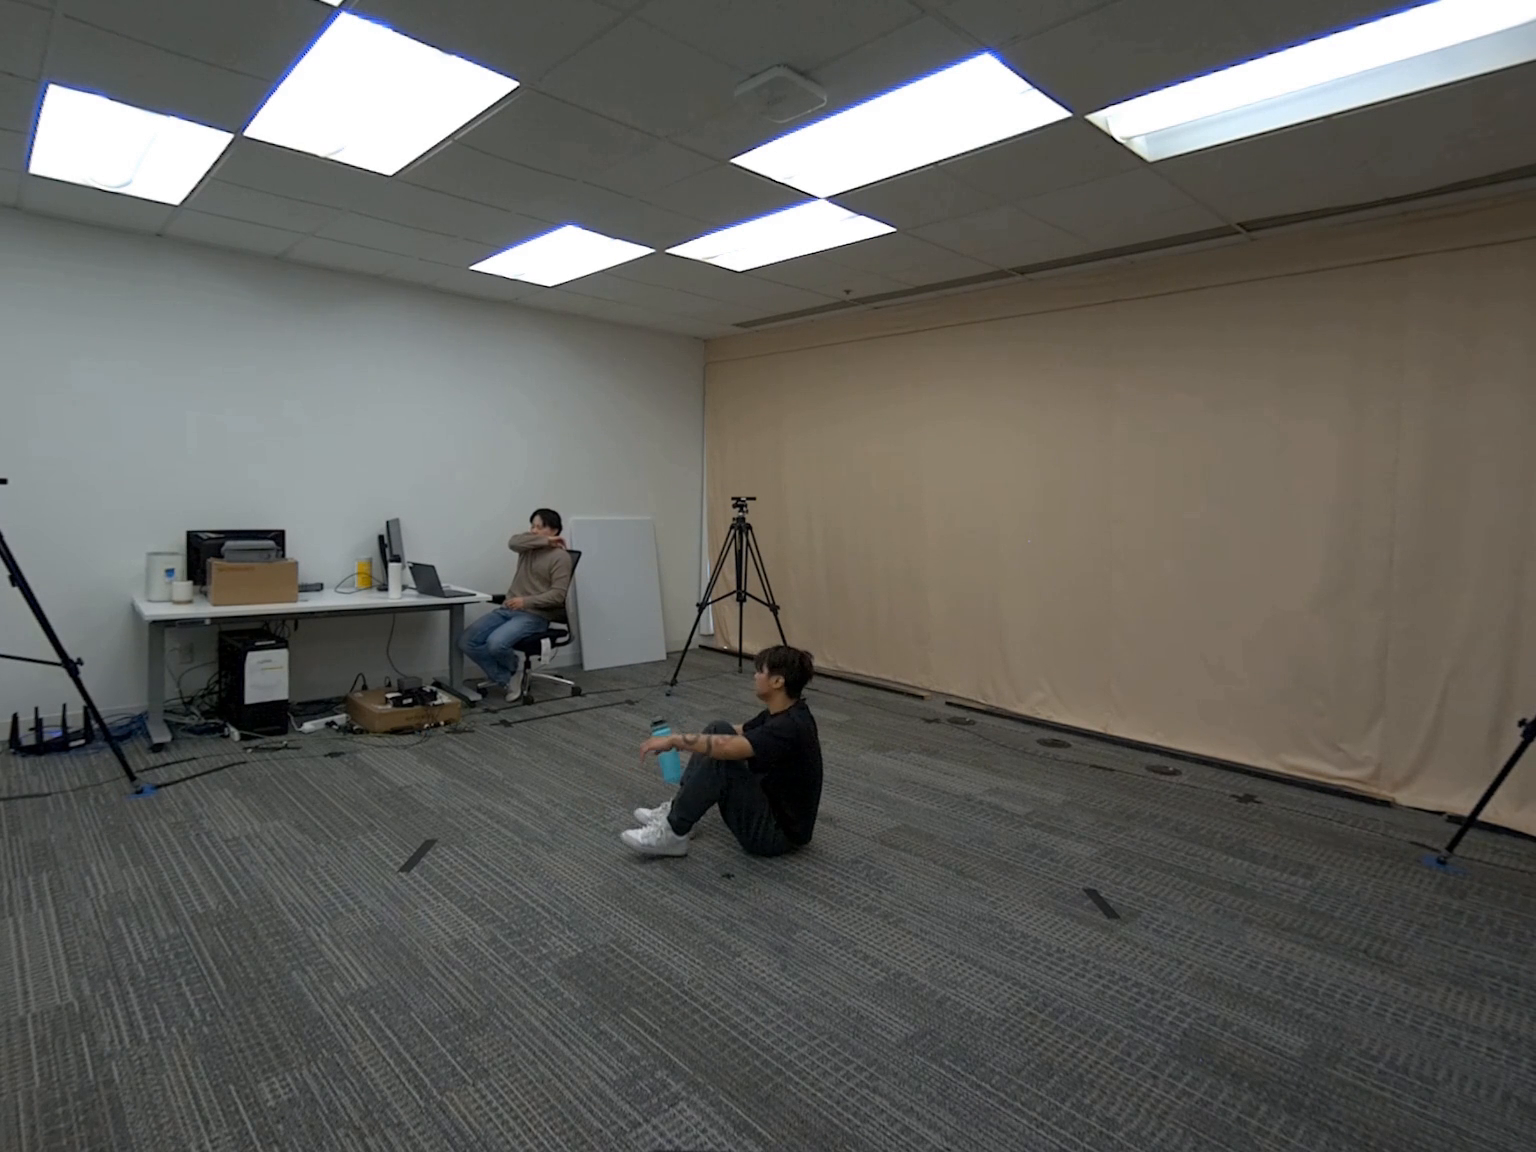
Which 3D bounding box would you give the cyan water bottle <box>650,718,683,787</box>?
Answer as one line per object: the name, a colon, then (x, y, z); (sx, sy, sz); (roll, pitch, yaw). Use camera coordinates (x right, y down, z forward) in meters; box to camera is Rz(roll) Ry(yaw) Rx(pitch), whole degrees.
cyan water bottle: (-0.456, 0.763, 3.724); (0.092, 0.285, 0.092); (-16, -6, -3)
